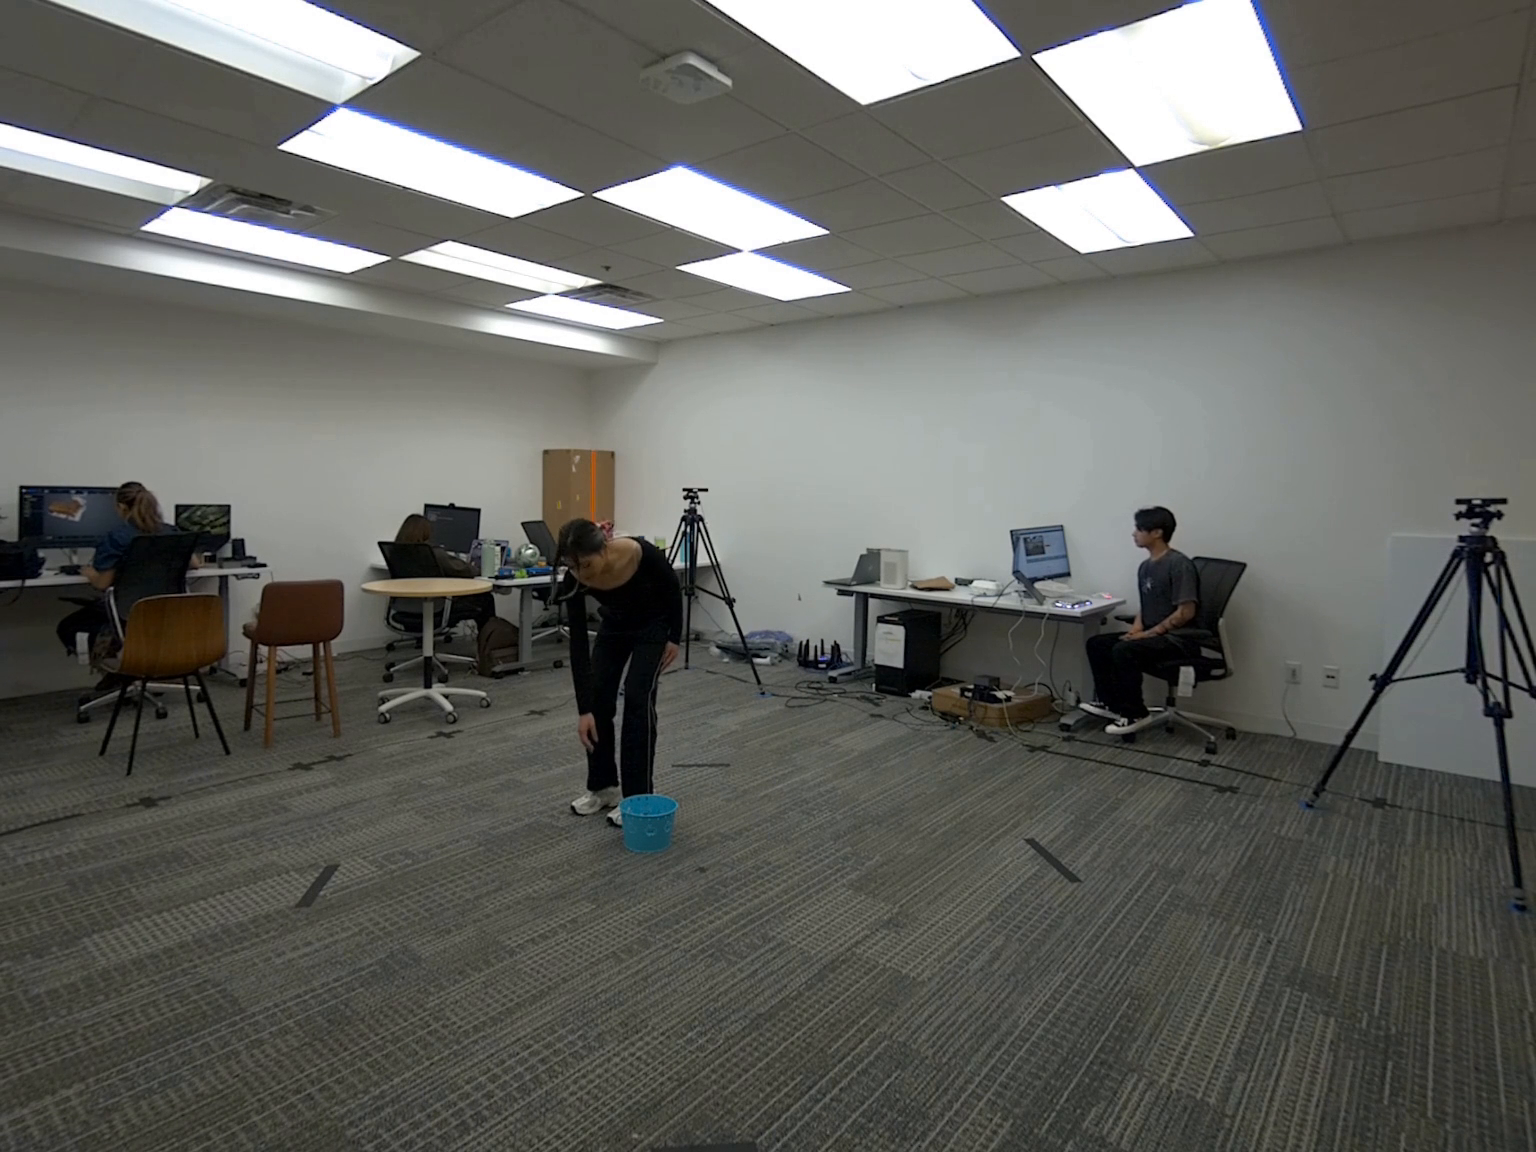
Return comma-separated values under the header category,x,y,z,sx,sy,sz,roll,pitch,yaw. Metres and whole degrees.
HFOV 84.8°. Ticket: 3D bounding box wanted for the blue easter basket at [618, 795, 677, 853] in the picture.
category,x,y,z,sx,sy,sz,roll,pitch,yaw
blue easter basket,-0.480,0.966,3.339,0.243,0.155,0.245,1,4,-2
